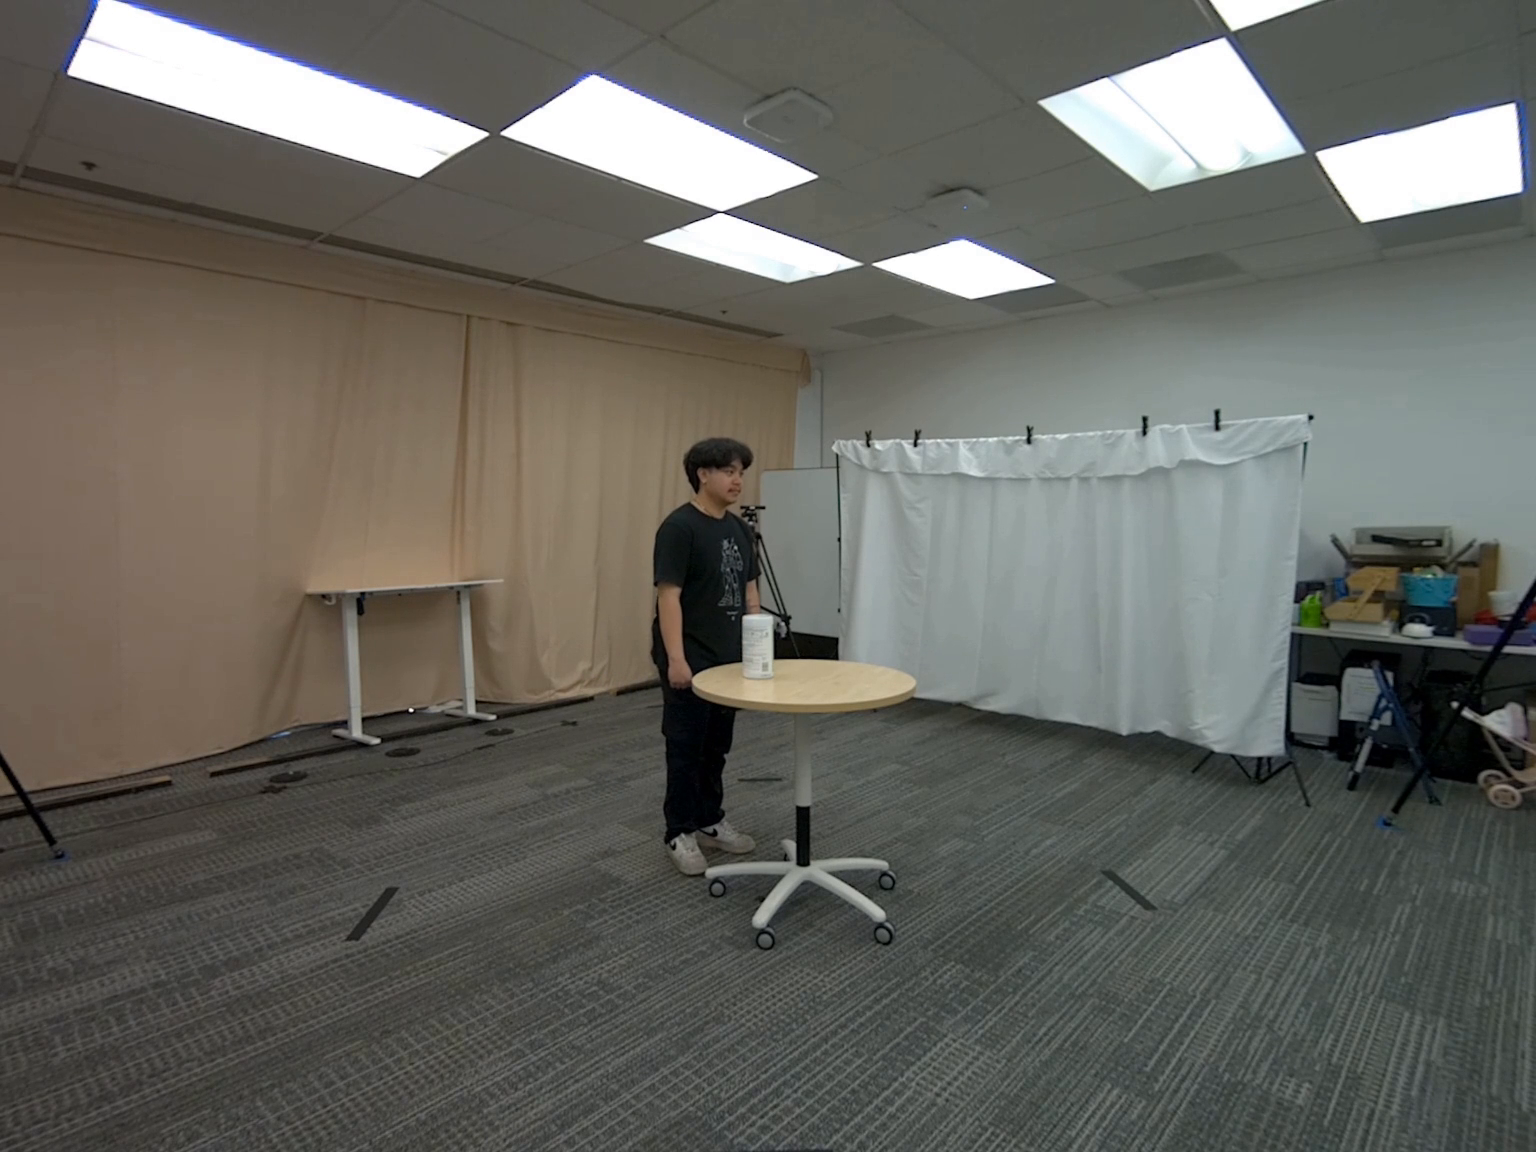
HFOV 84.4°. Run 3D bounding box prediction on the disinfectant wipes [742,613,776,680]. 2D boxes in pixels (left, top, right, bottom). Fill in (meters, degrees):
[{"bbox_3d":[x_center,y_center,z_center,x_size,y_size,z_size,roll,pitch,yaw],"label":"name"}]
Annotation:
[{"bbox_3d":[-0.028,0.251,2.940,0.118,0.217,0.118,0,1,-2],"label":"disinfectant wipes"}]
